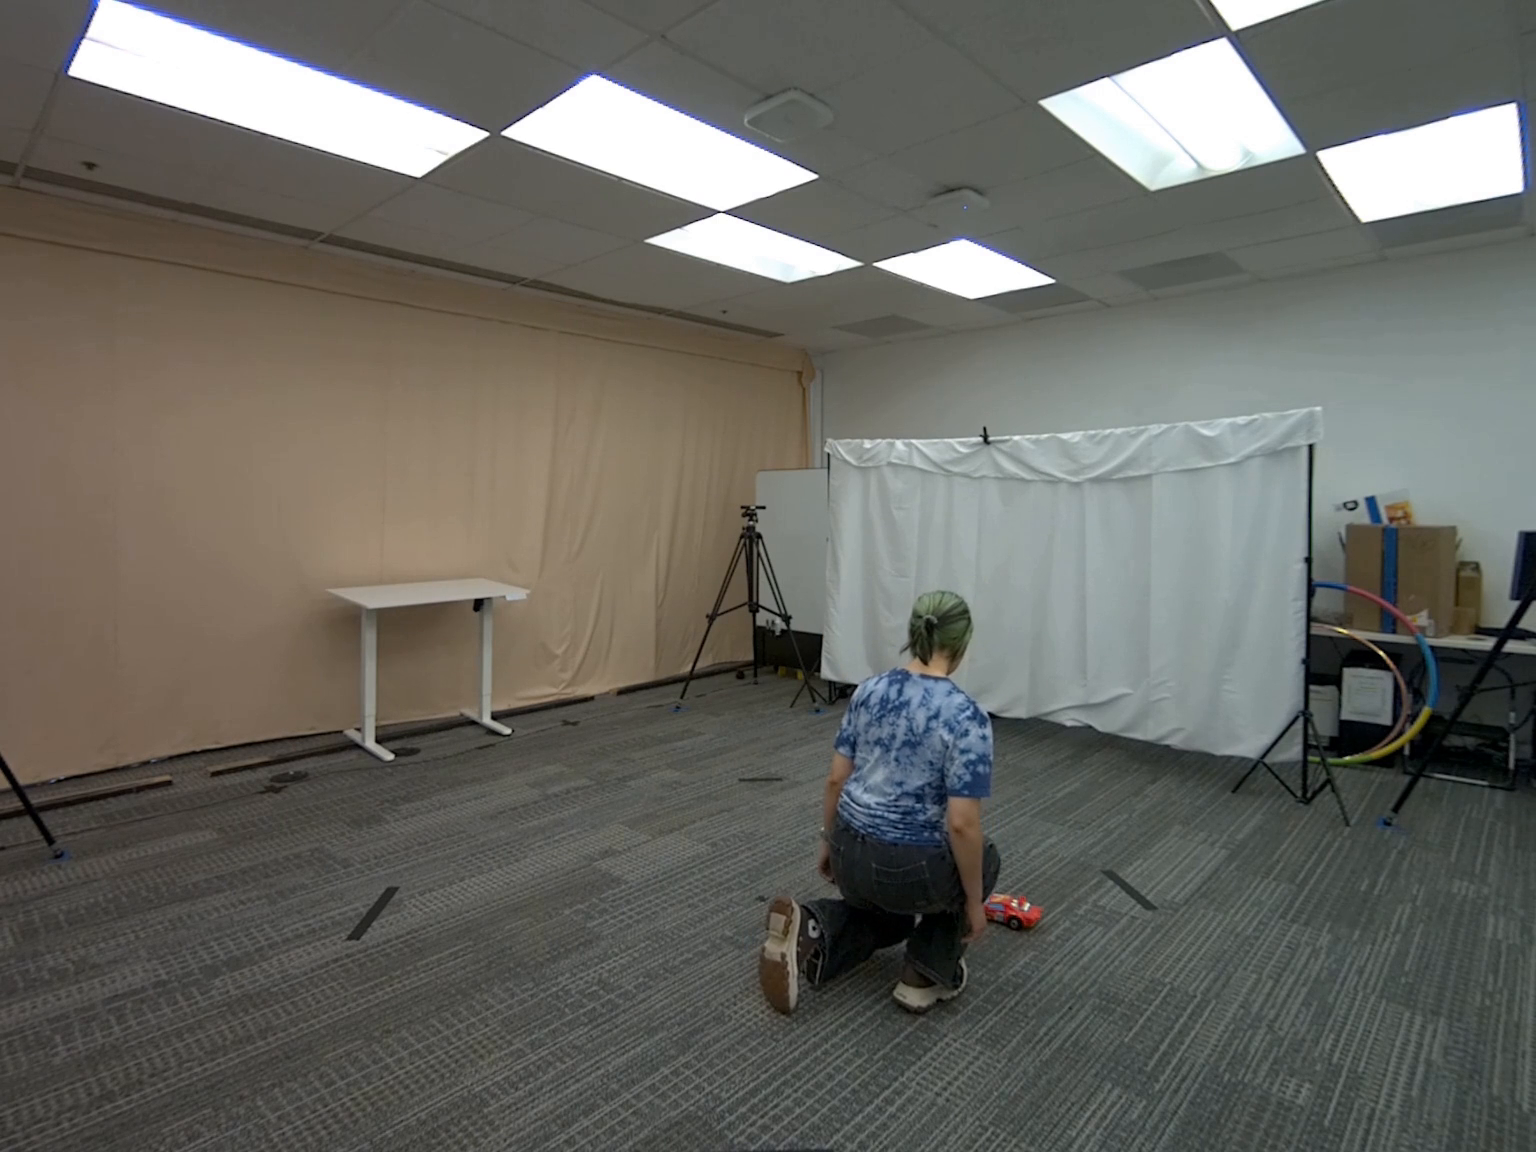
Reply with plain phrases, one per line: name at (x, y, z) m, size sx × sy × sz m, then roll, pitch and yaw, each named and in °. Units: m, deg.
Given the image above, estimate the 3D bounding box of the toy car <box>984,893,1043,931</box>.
toy car at (0.801, 1.125, 2.827) m, size 0.261 × 0.083 × 0.127 m, roll -9°, pitch -1°, yaw 31°
